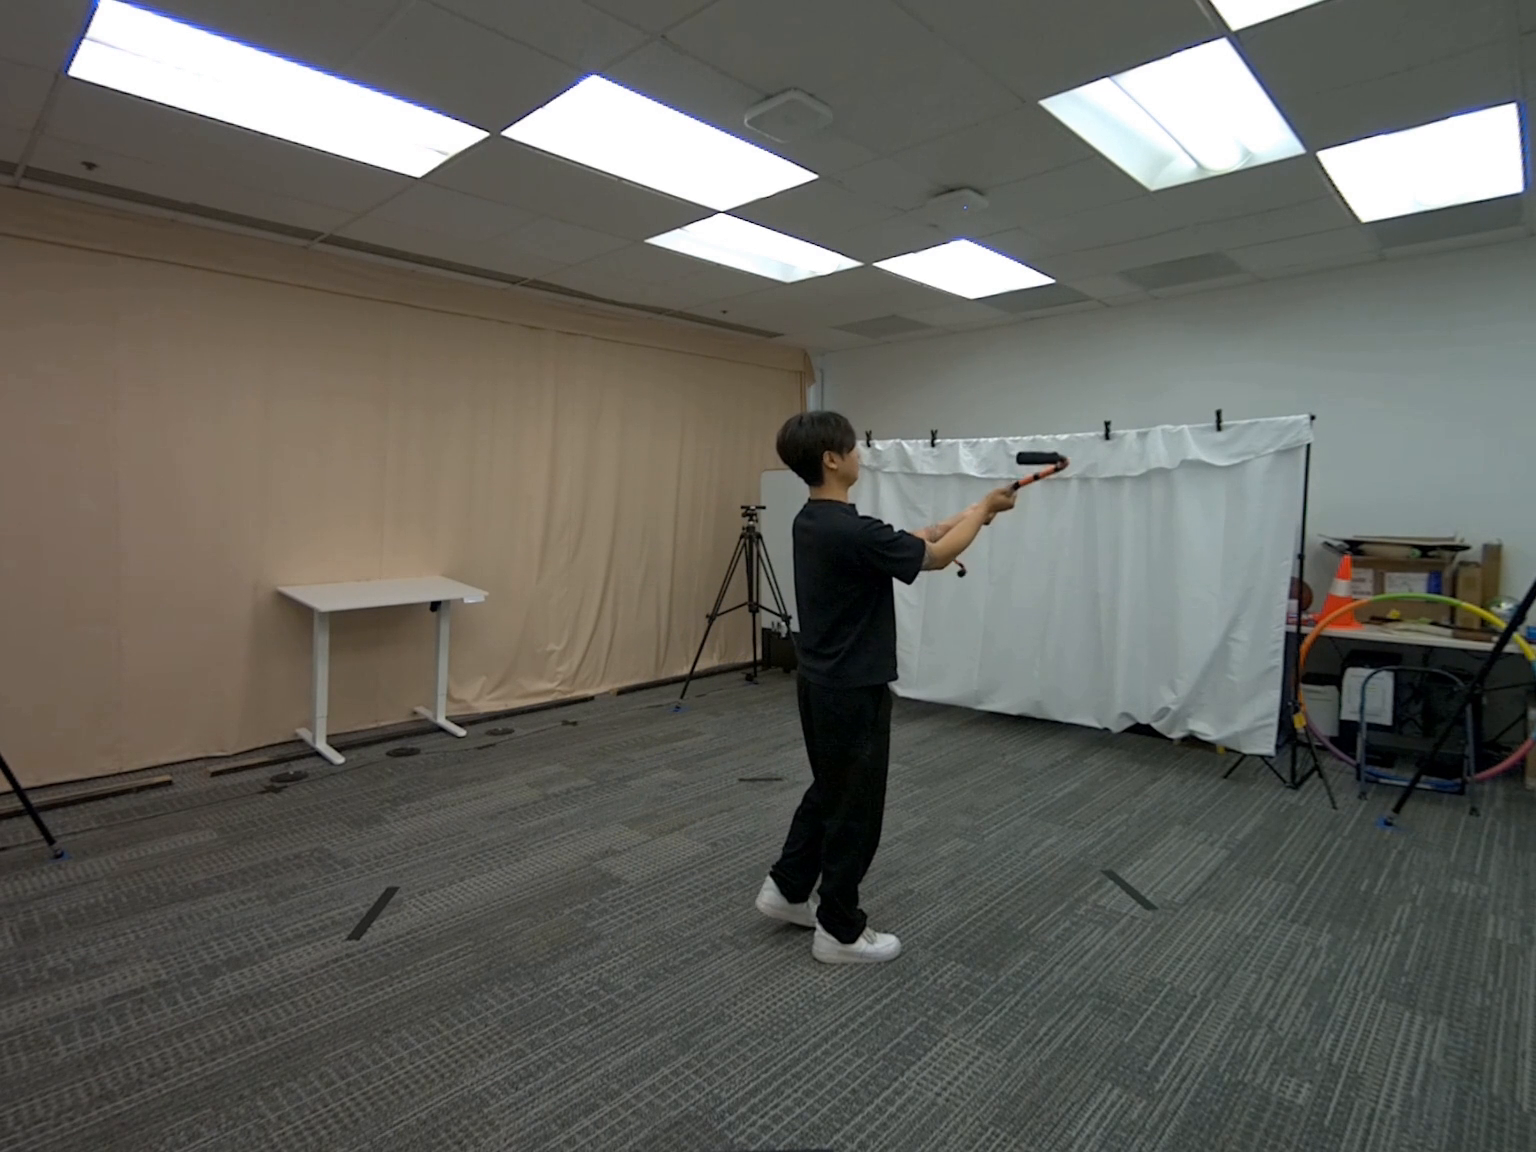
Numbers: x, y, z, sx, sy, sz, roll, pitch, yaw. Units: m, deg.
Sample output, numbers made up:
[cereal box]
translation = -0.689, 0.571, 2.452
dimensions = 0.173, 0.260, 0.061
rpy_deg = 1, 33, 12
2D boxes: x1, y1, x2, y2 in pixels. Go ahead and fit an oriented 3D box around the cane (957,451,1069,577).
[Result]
[cane]
translation = 0.710, -0.191, 2.679
dimensions = 0.205, 0.153, 0.905
rpy_deg = 2, -16, -9
